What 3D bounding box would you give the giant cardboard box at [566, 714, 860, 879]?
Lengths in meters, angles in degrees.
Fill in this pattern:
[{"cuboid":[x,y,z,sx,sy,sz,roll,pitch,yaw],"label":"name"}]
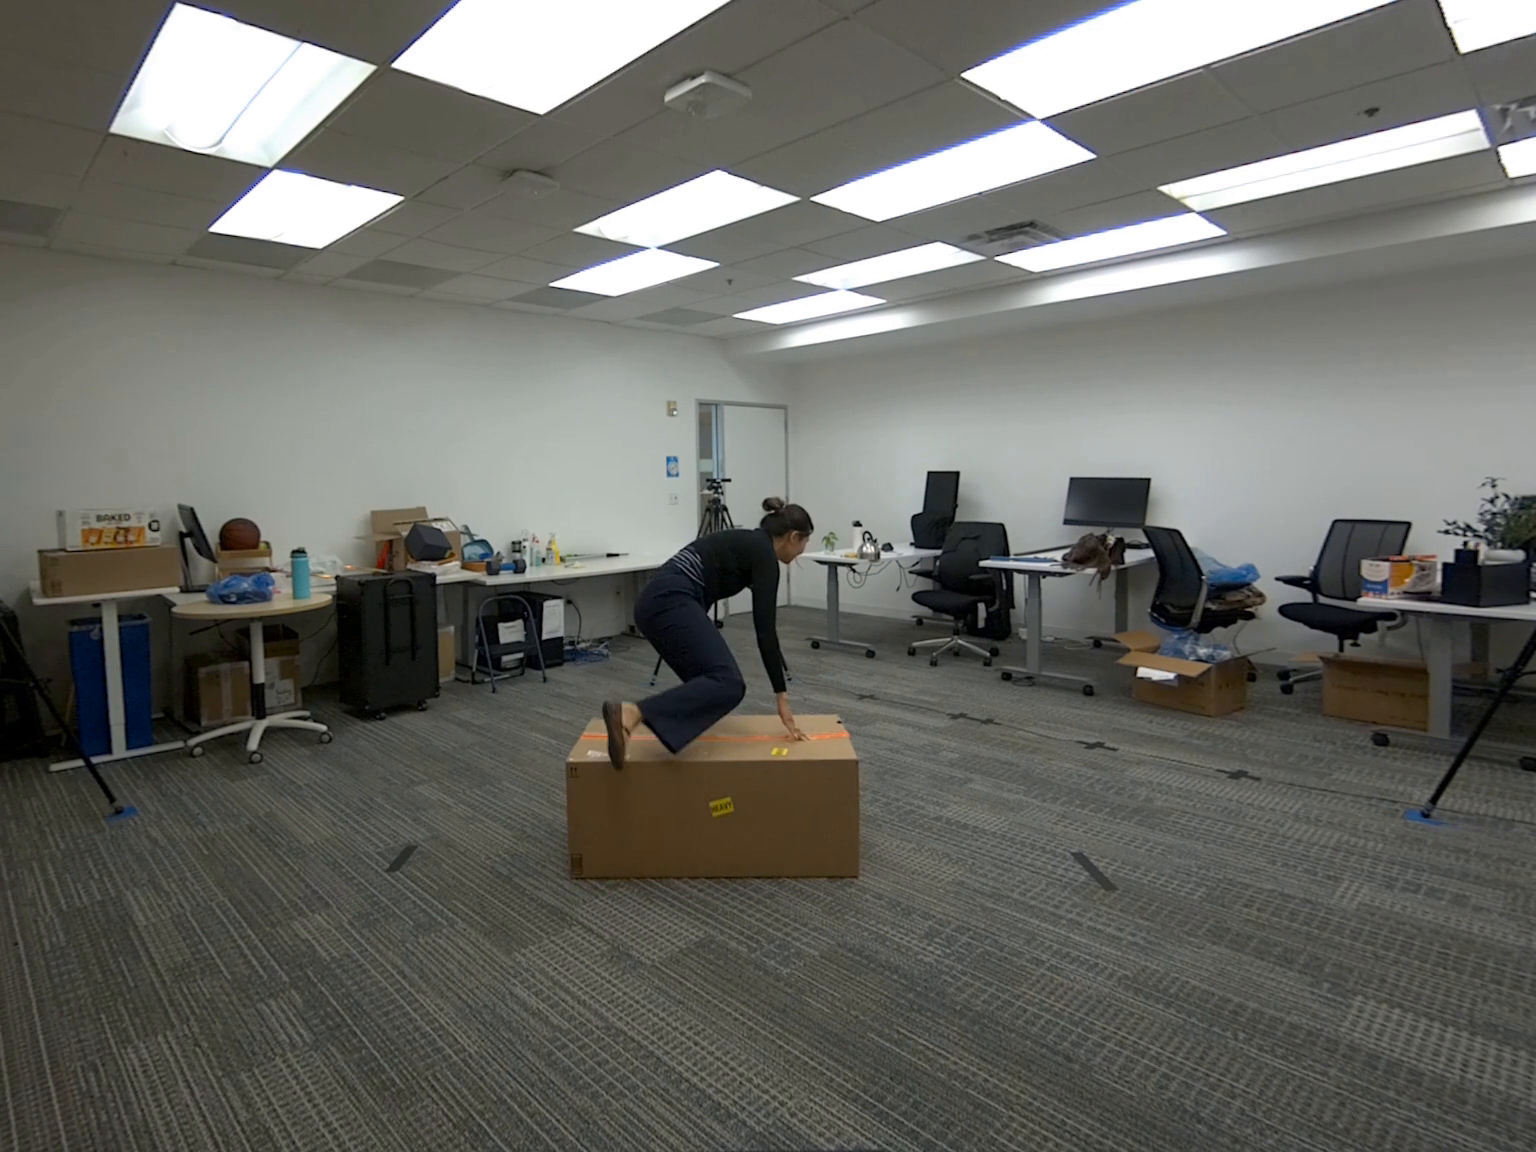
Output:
[{"cuboid":[-0.206,0.814,3.266,1.027,0.424,0.580,-1,6,0],"label":"giant cardboard box"}]
